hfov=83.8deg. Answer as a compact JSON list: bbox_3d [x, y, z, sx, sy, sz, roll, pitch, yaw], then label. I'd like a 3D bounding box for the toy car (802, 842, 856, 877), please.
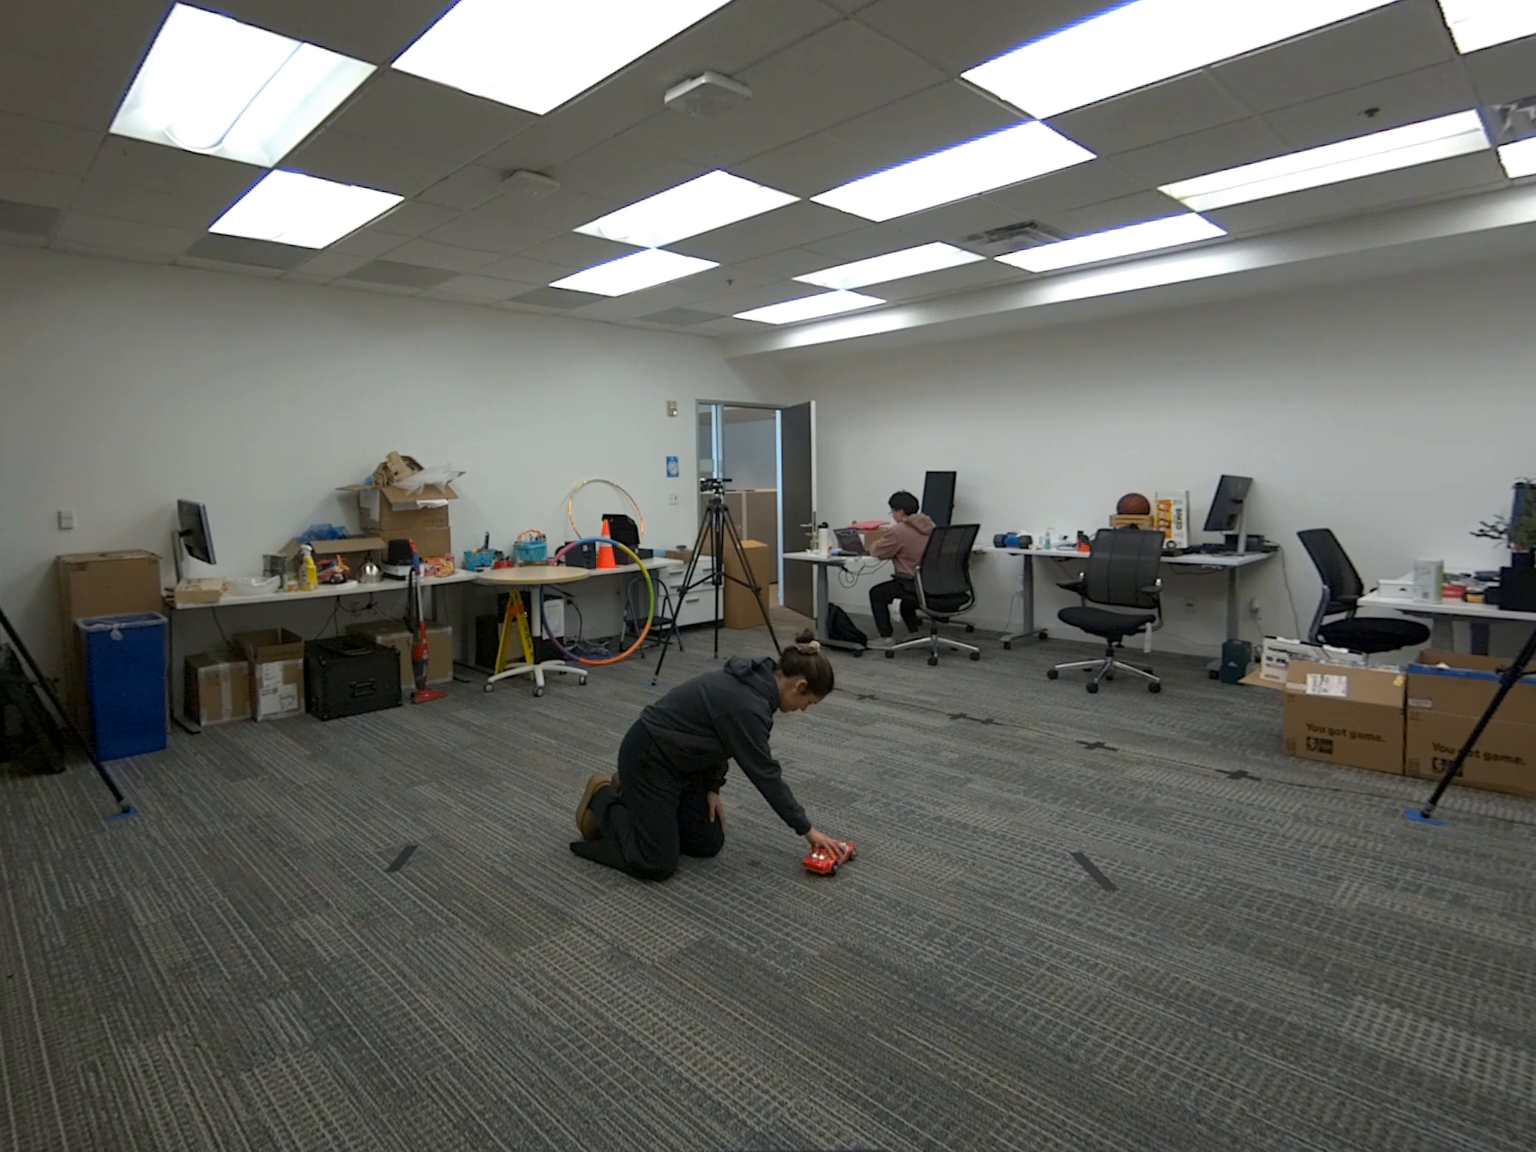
[{"bbox_3d":[0.211,1.010,3.045,0.134,0.083,0.246,3,-5,35],"label":"toy car"}]
